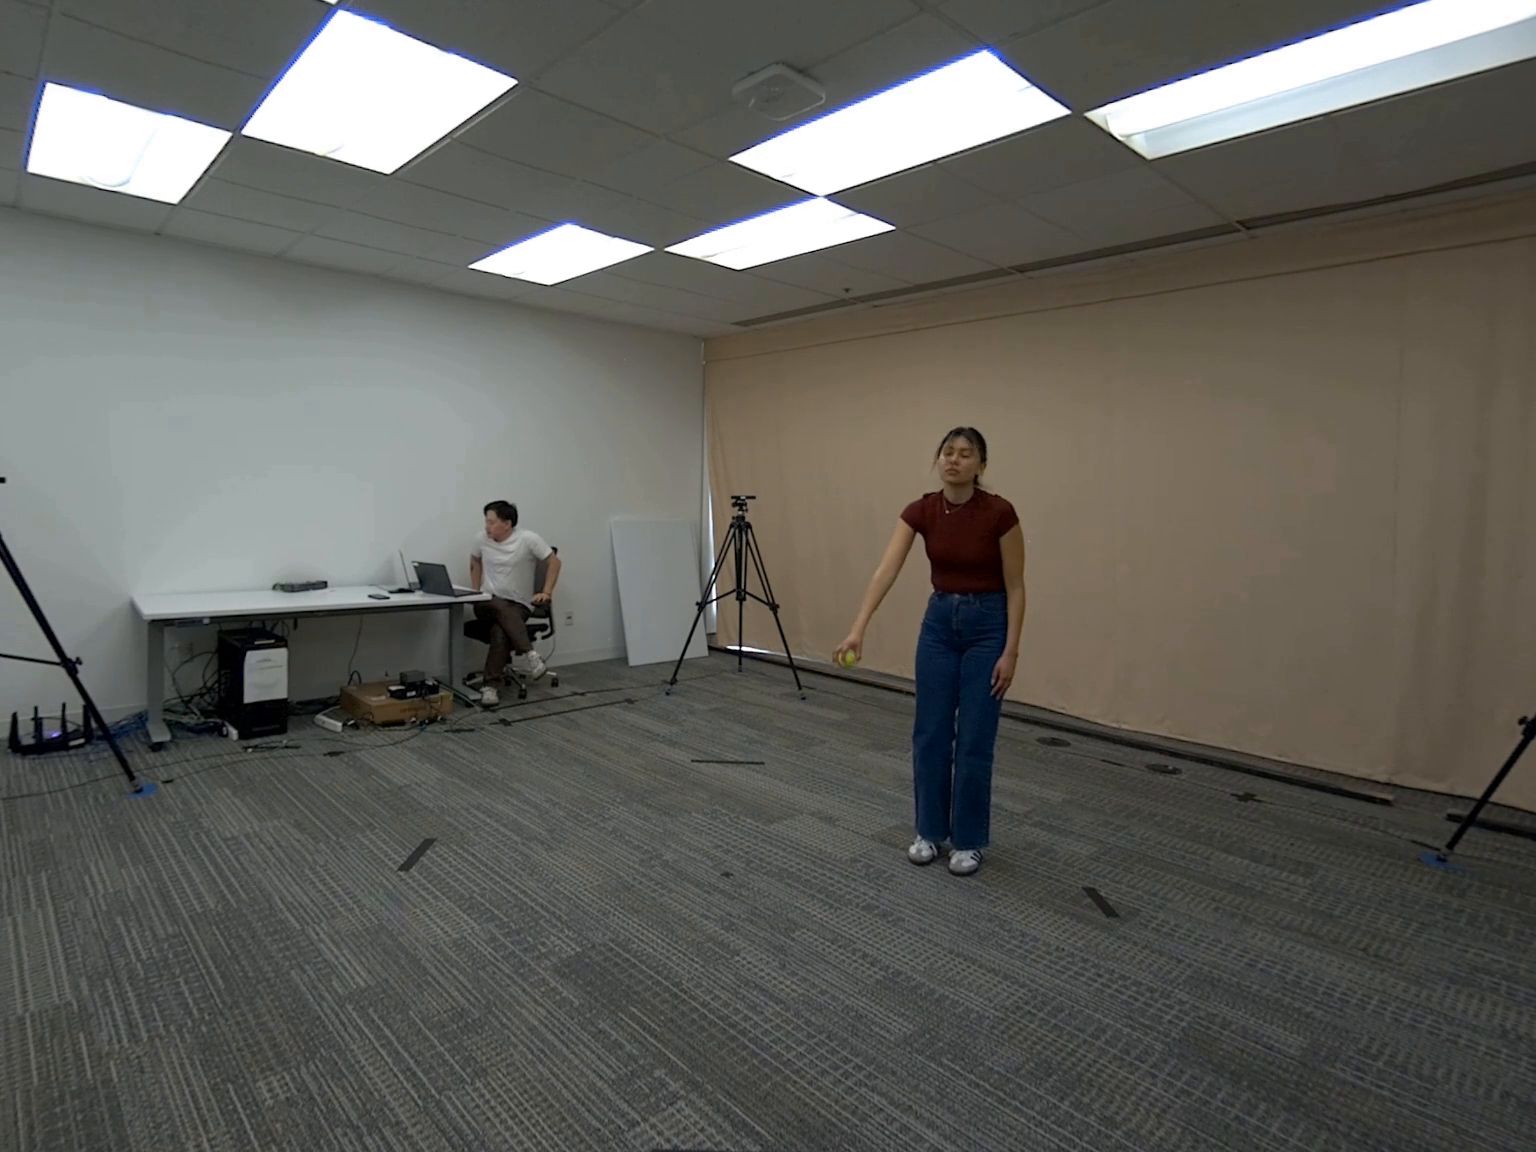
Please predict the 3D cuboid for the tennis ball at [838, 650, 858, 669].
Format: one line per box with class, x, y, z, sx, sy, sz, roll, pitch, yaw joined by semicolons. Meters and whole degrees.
tennis ball;0.272;0.317;2.990;0.066;0.066;0.067;1;4;-1
